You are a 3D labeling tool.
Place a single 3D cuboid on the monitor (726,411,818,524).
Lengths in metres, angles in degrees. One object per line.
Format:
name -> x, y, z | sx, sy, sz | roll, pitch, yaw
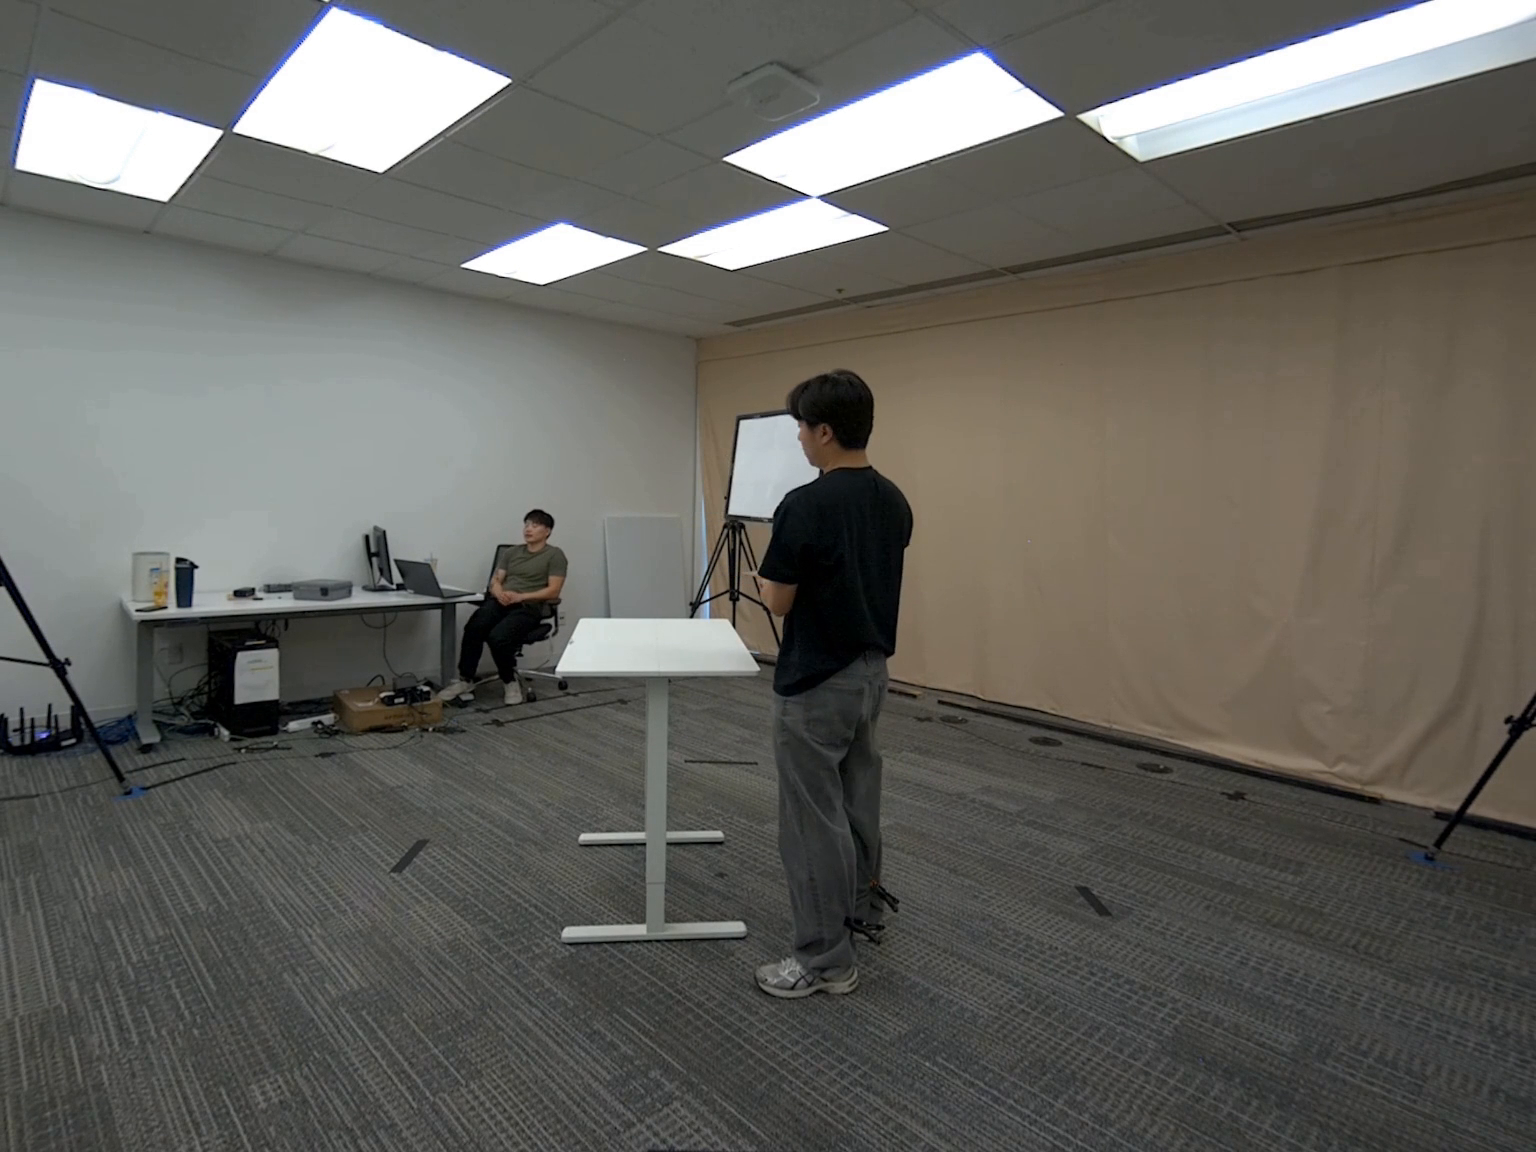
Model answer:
monitor -> 0.053, -0.249, 2.714 | 0.218, 0.563, 0.574 | -9, 8, -27
